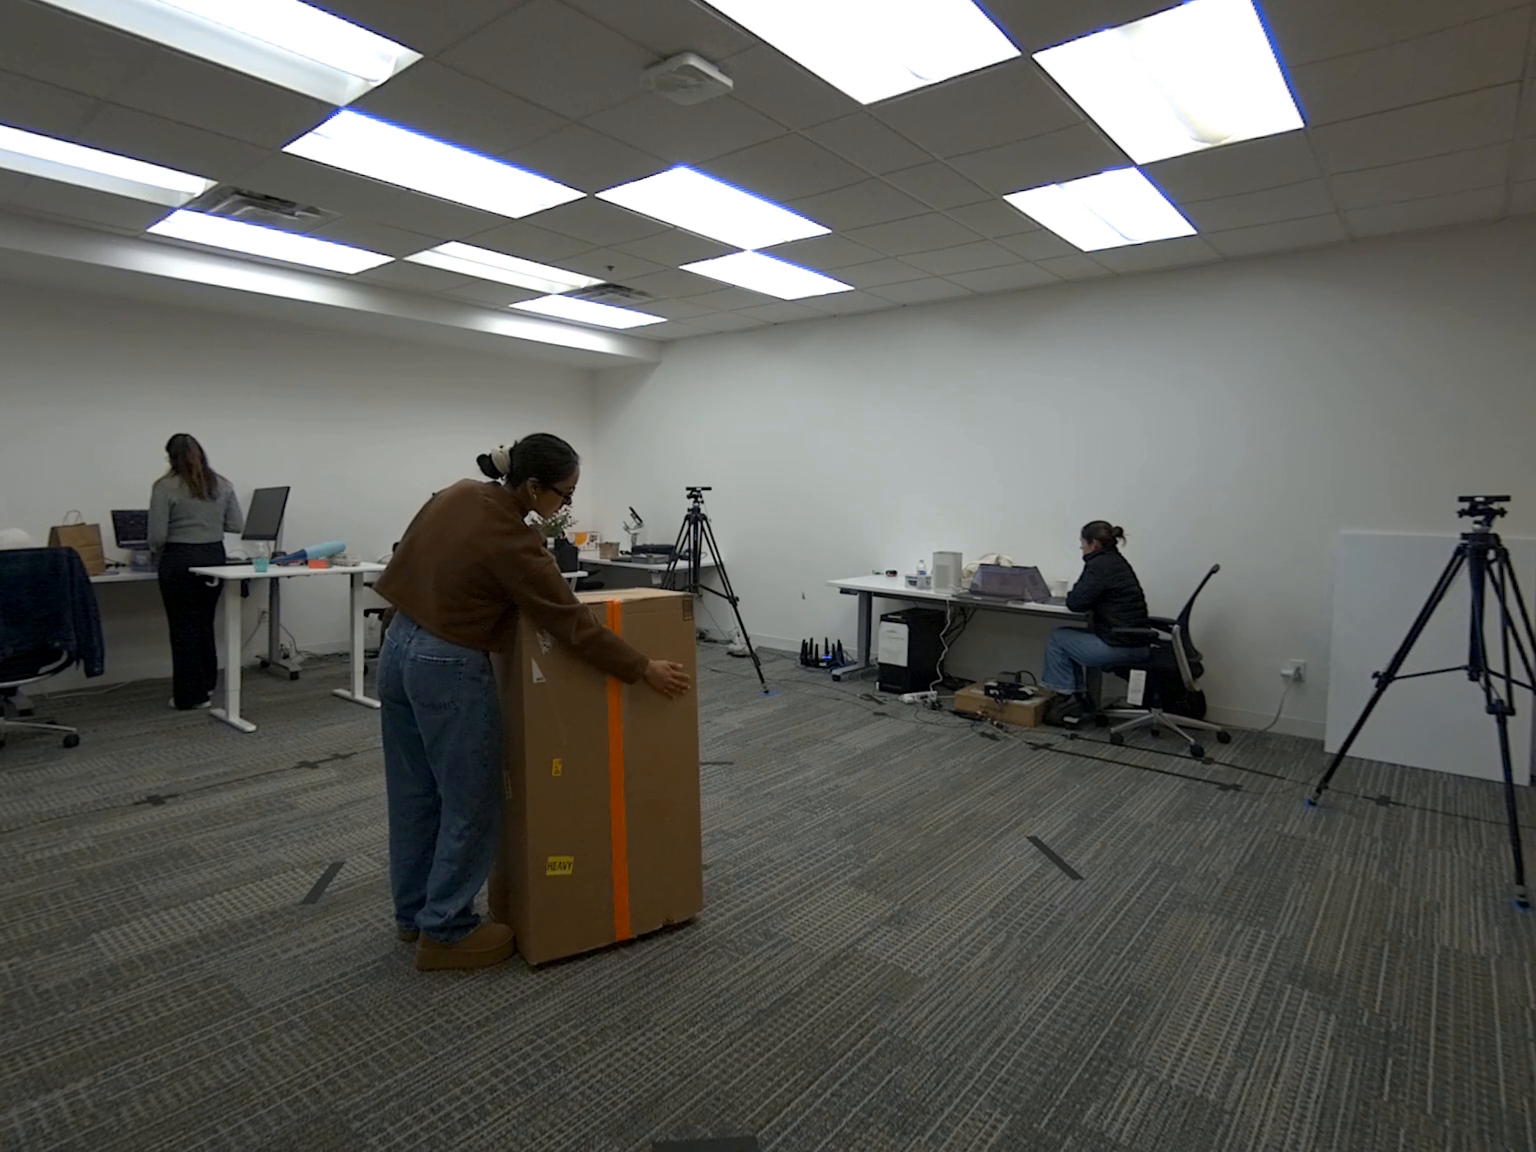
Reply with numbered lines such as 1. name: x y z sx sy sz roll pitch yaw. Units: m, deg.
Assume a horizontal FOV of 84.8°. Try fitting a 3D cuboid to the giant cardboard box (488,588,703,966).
1. giant cardboard box: -0.577 0.581 2.740 0.561 1.026 0.438 -2 0 -34
